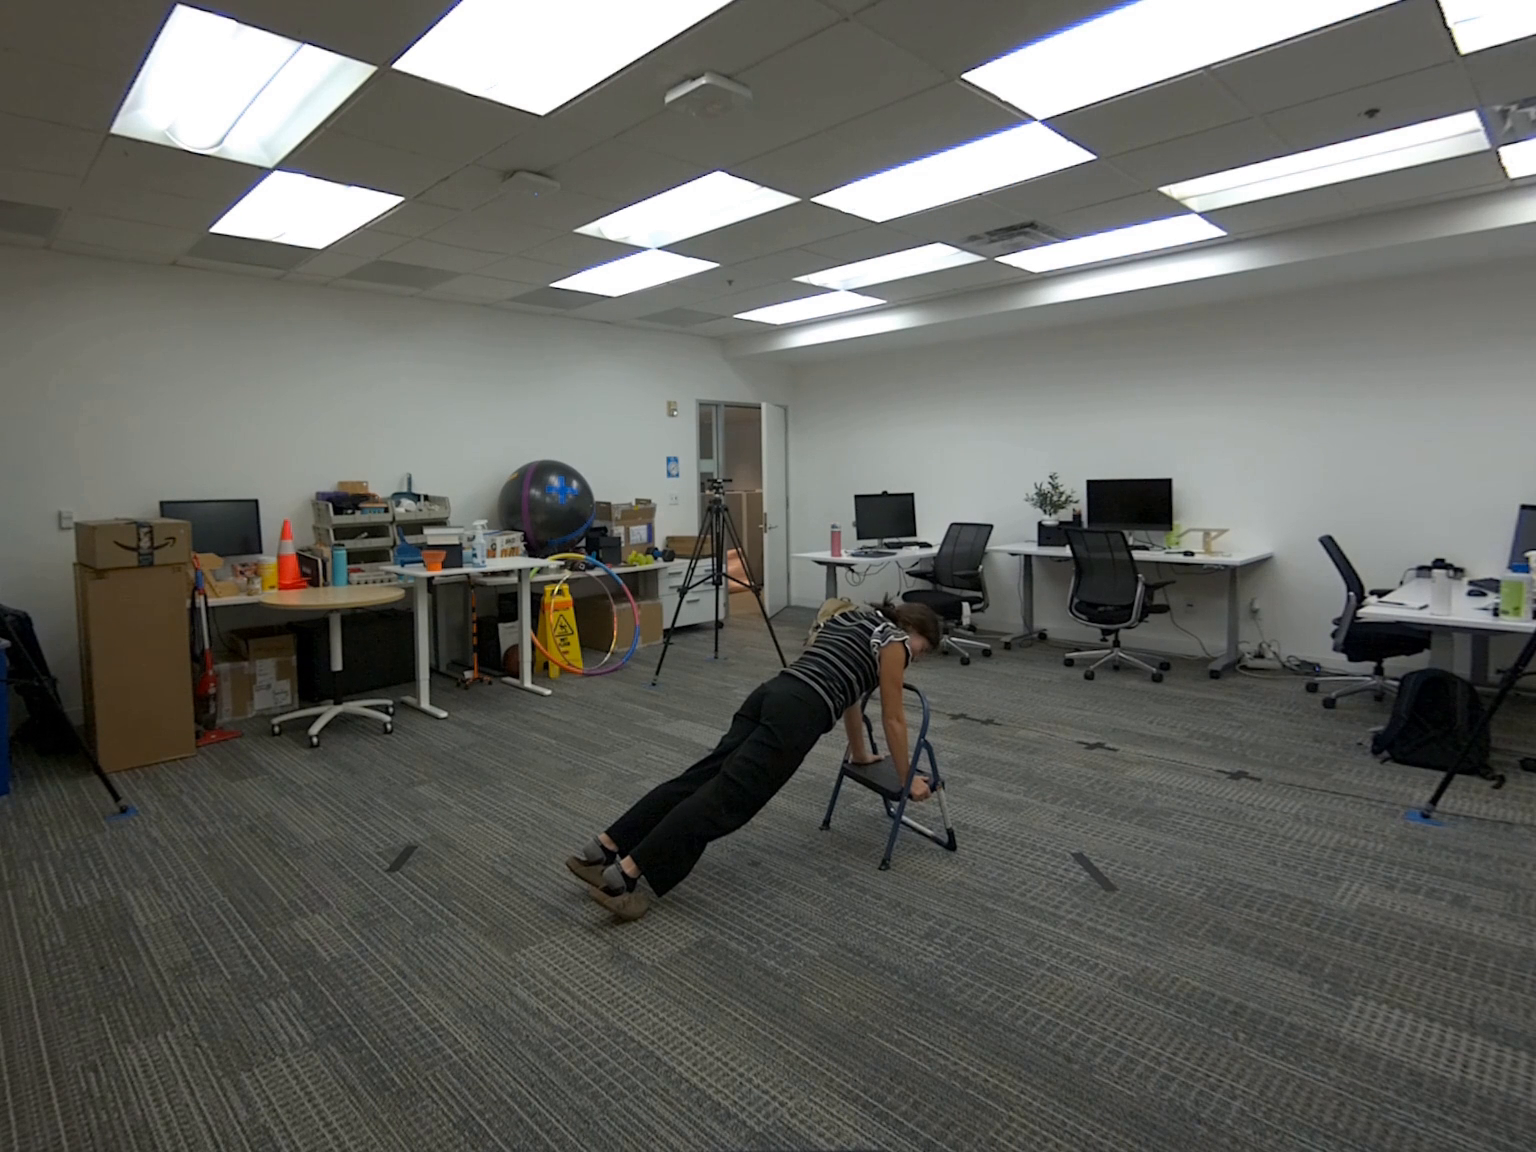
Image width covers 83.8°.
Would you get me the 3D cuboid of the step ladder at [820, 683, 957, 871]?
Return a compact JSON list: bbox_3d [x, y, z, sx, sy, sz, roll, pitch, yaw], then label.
[{"bbox_3d":[0.457,0.717,3.279,0.341,0.604,0.442,-2,5,-28],"label":"step ladder"}]
